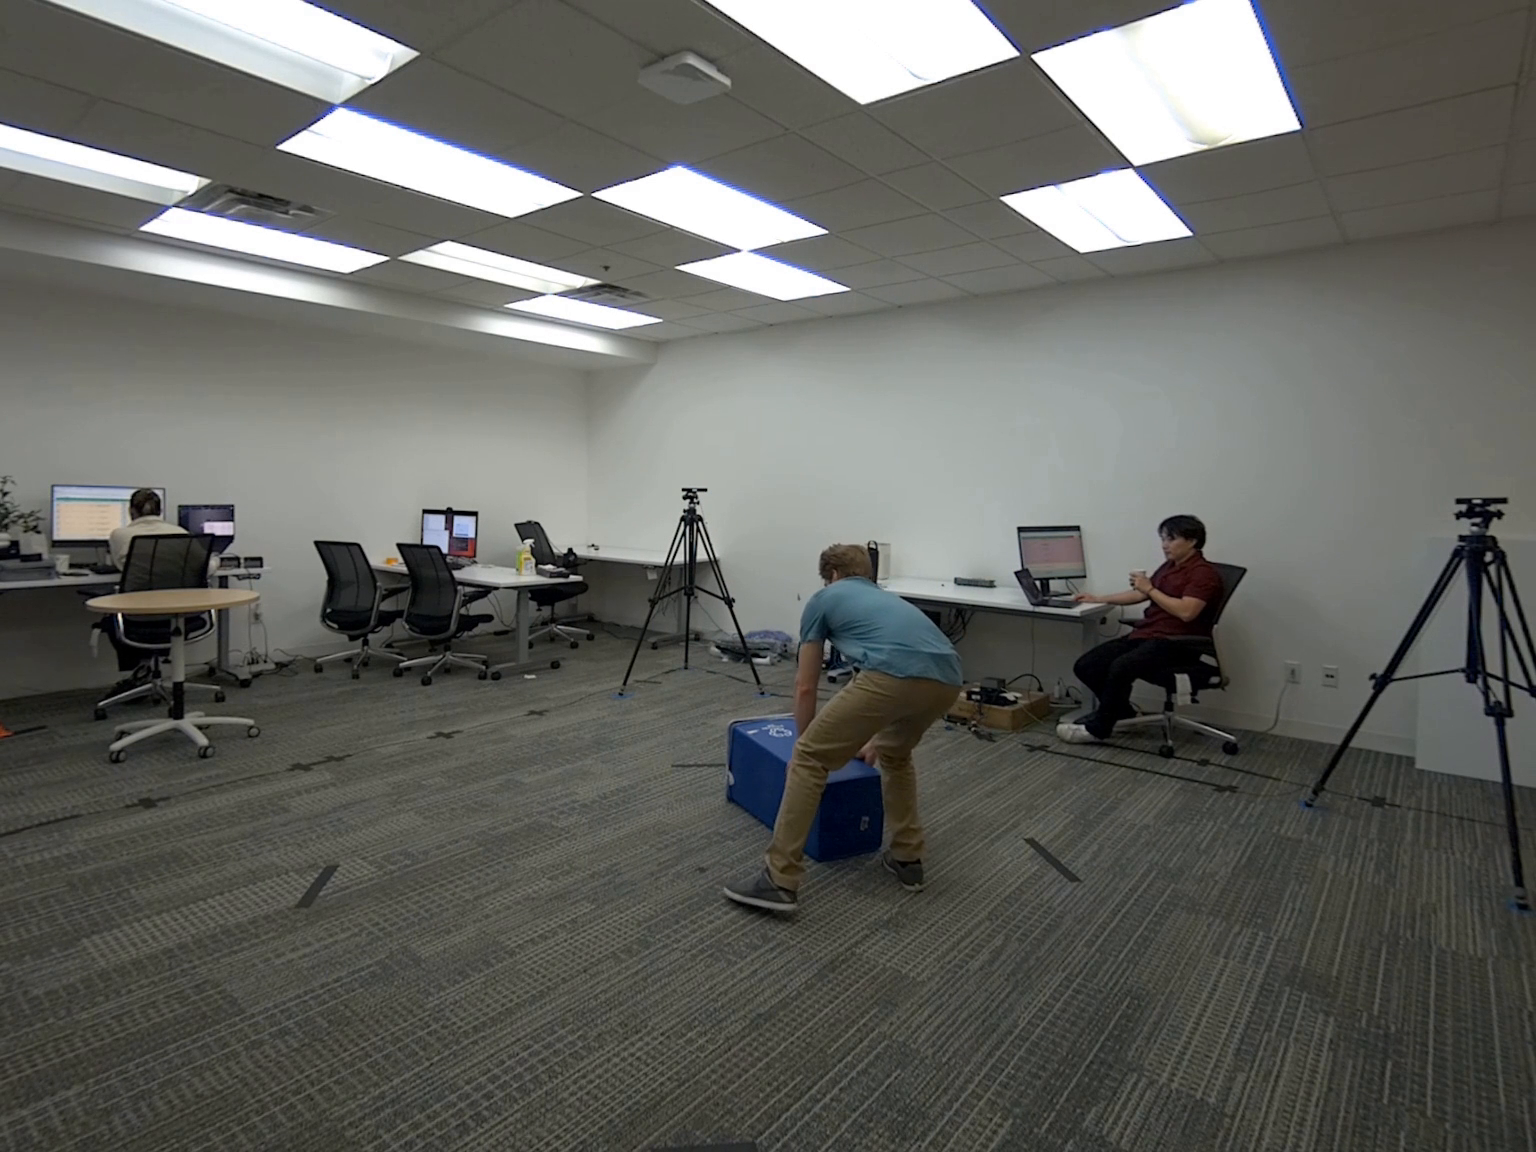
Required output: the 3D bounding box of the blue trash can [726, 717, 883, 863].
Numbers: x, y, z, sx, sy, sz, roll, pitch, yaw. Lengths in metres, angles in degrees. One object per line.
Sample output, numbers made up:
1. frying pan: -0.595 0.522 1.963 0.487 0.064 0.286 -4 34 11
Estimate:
1. blue trash can: 0.135 0.867 3.551 0.364 0.376 0.737 -1 8 -29
